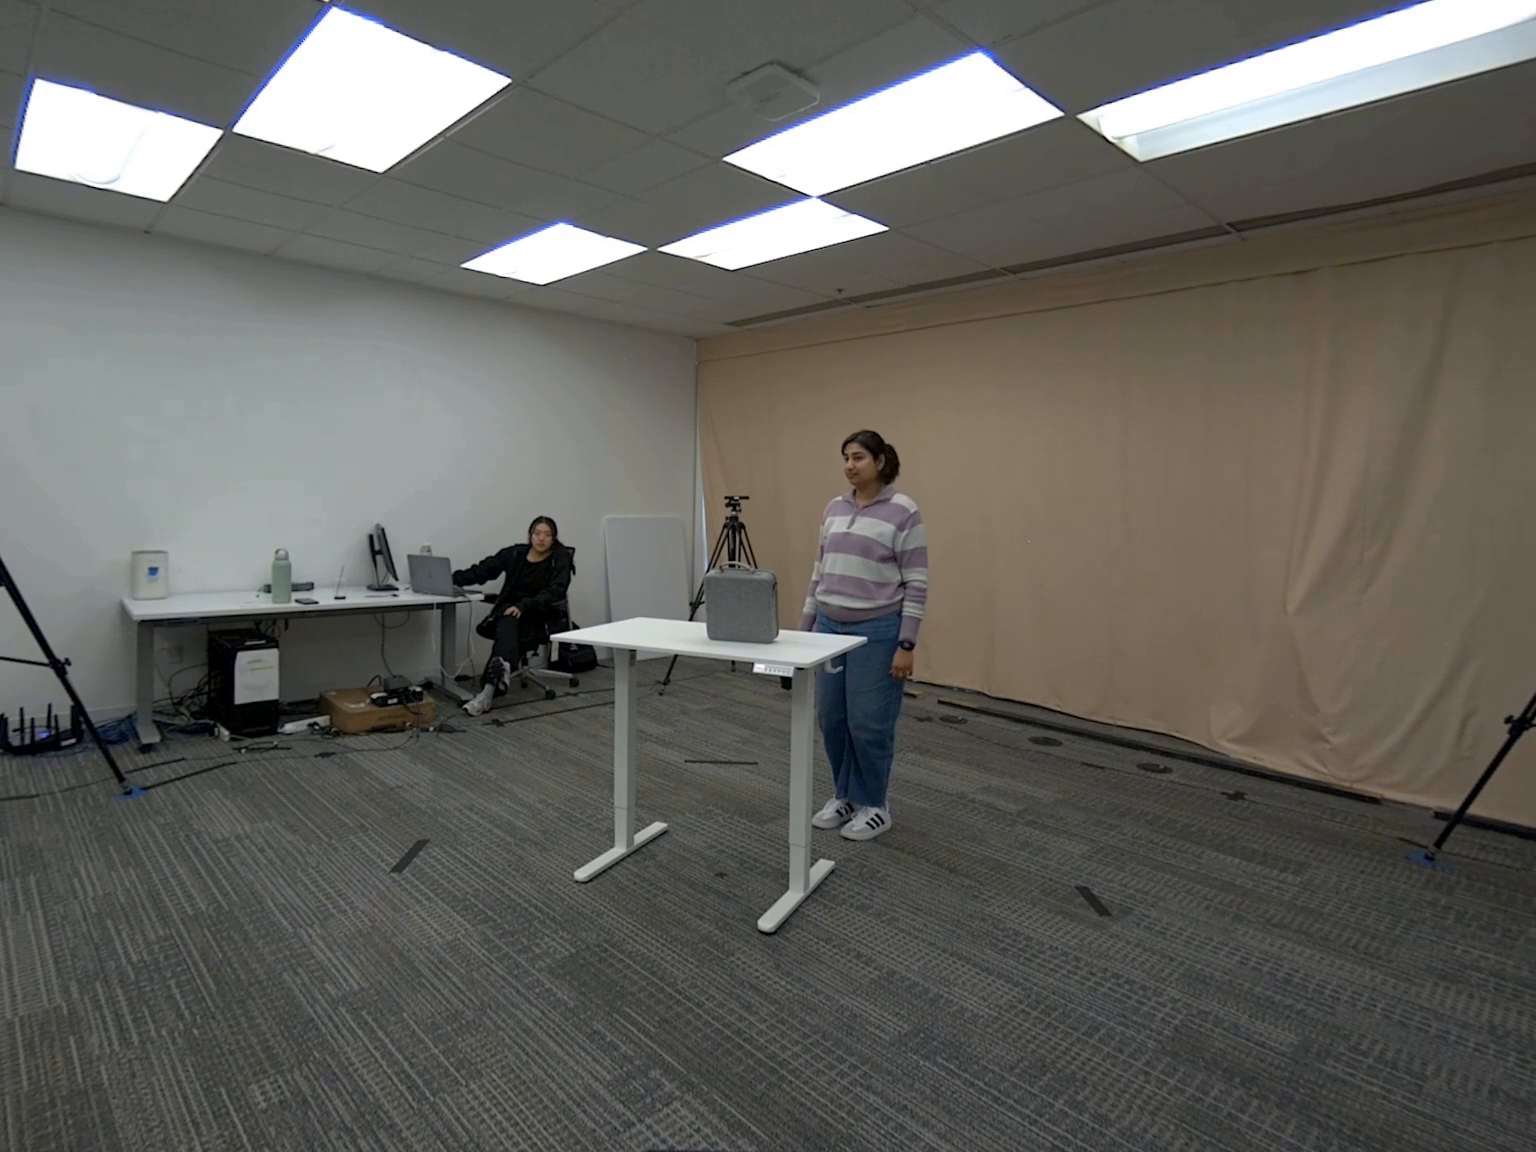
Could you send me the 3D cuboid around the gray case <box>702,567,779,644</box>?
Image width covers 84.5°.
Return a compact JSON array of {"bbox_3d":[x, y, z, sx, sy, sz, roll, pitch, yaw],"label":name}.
[{"bbox_3d":[-0.098,0.102,2.970,0.260,0.258,0.104,1,12,18],"label":"gray case"}]
